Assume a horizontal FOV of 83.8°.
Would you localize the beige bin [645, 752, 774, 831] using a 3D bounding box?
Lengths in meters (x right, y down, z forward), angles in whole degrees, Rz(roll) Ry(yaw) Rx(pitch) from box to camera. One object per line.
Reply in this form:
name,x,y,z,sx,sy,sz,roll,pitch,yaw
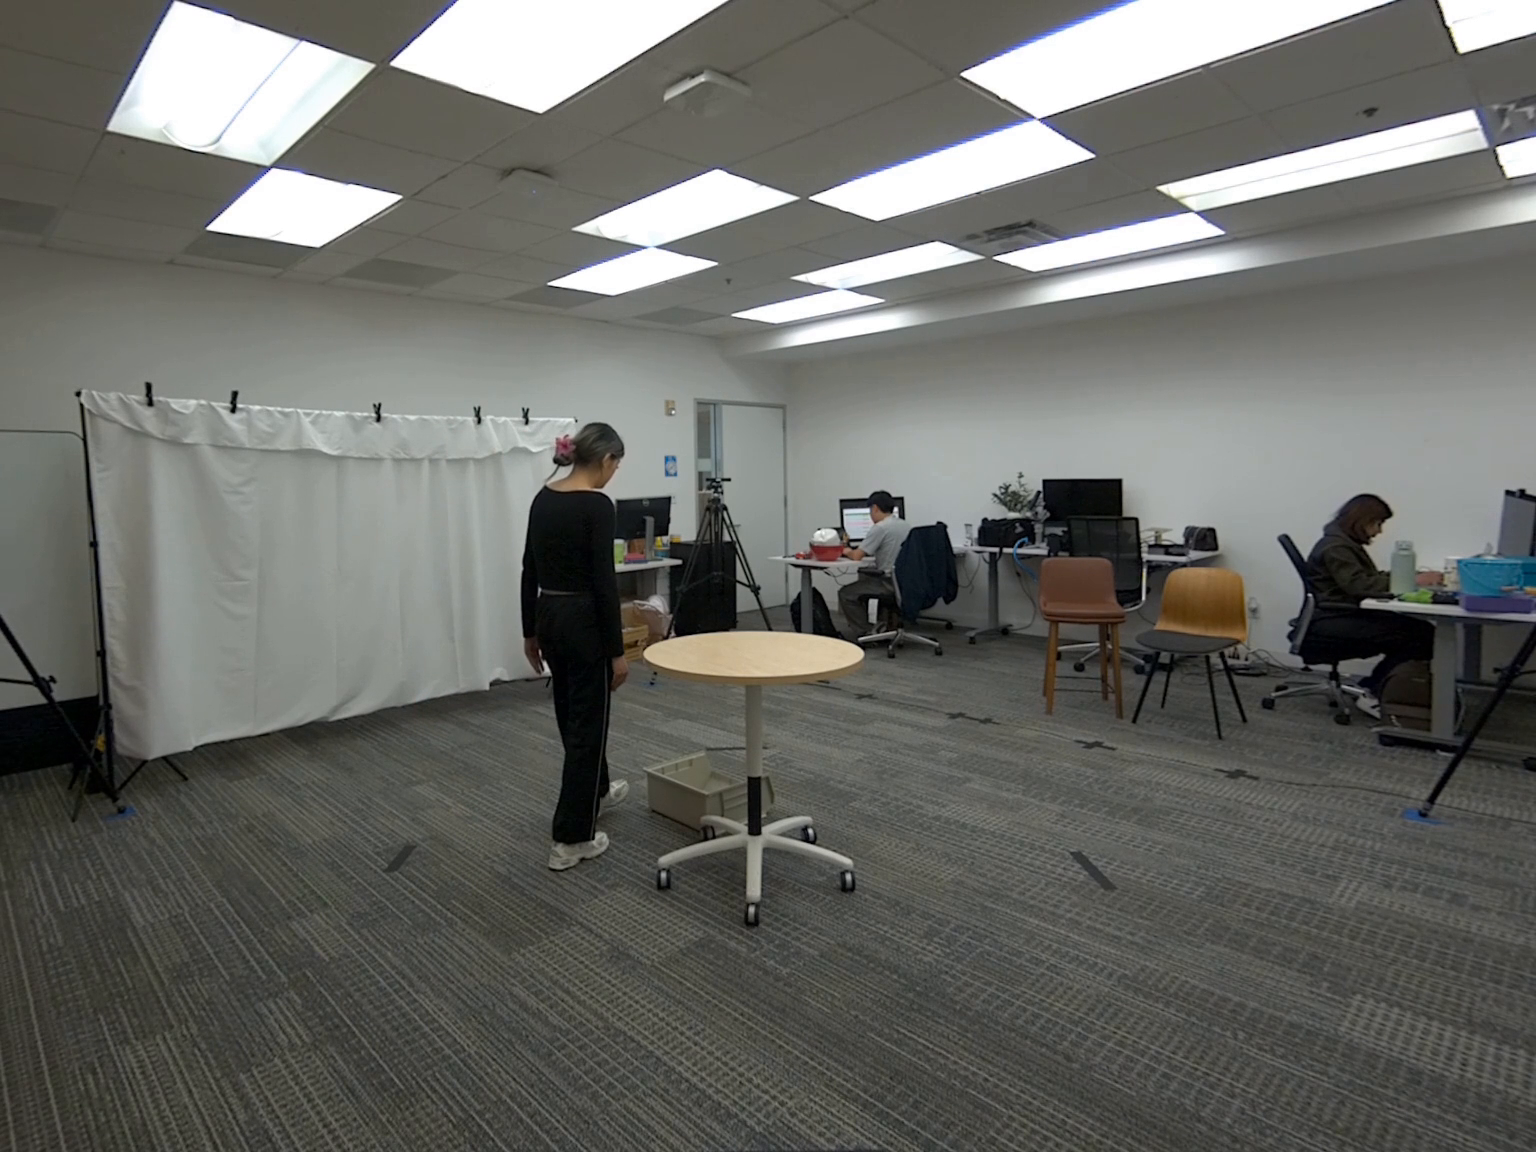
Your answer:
beige bin,-0.248,0.904,3.589,0.367,0.188,0.435,-7,8,-43
